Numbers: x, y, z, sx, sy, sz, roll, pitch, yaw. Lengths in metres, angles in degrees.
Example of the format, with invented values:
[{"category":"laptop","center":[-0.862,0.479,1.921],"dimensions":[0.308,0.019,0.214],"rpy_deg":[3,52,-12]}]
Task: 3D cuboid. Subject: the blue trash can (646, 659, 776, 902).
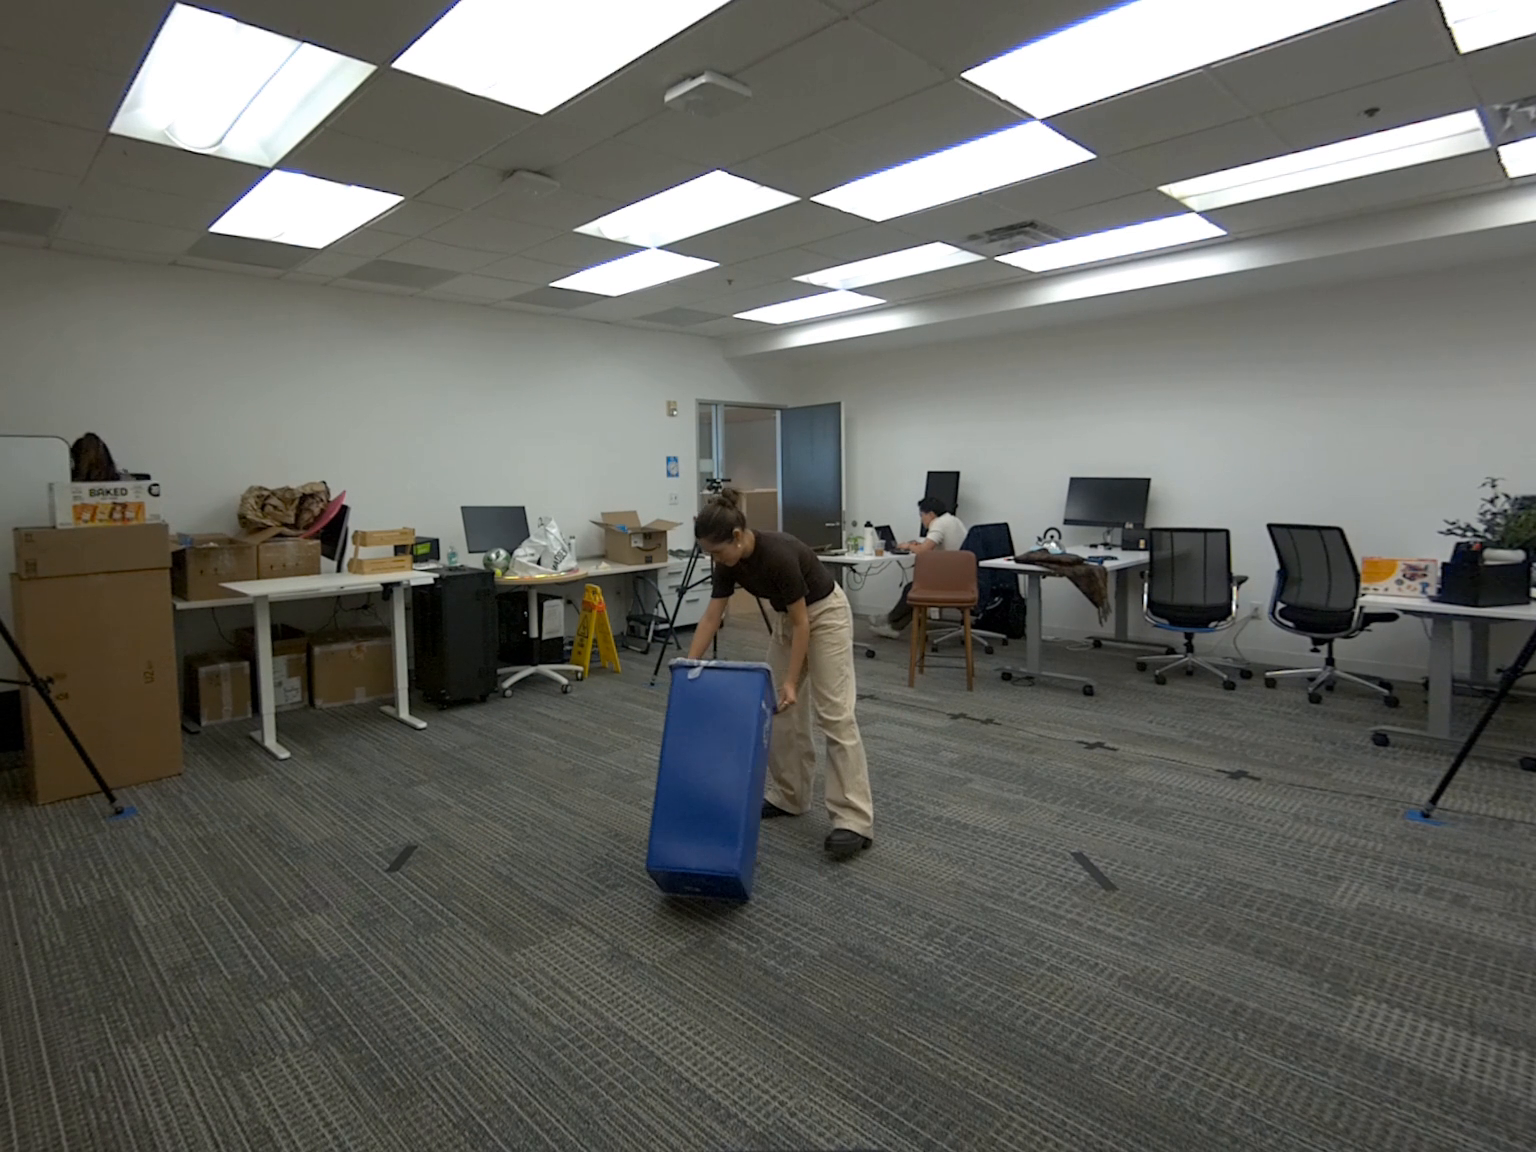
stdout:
[{"category":"blue trash can","center":[-0.193,0.696,2.947],"dimensions":[0.382,0.729,0.362],"rpy_deg":[1,-34,9]}]
